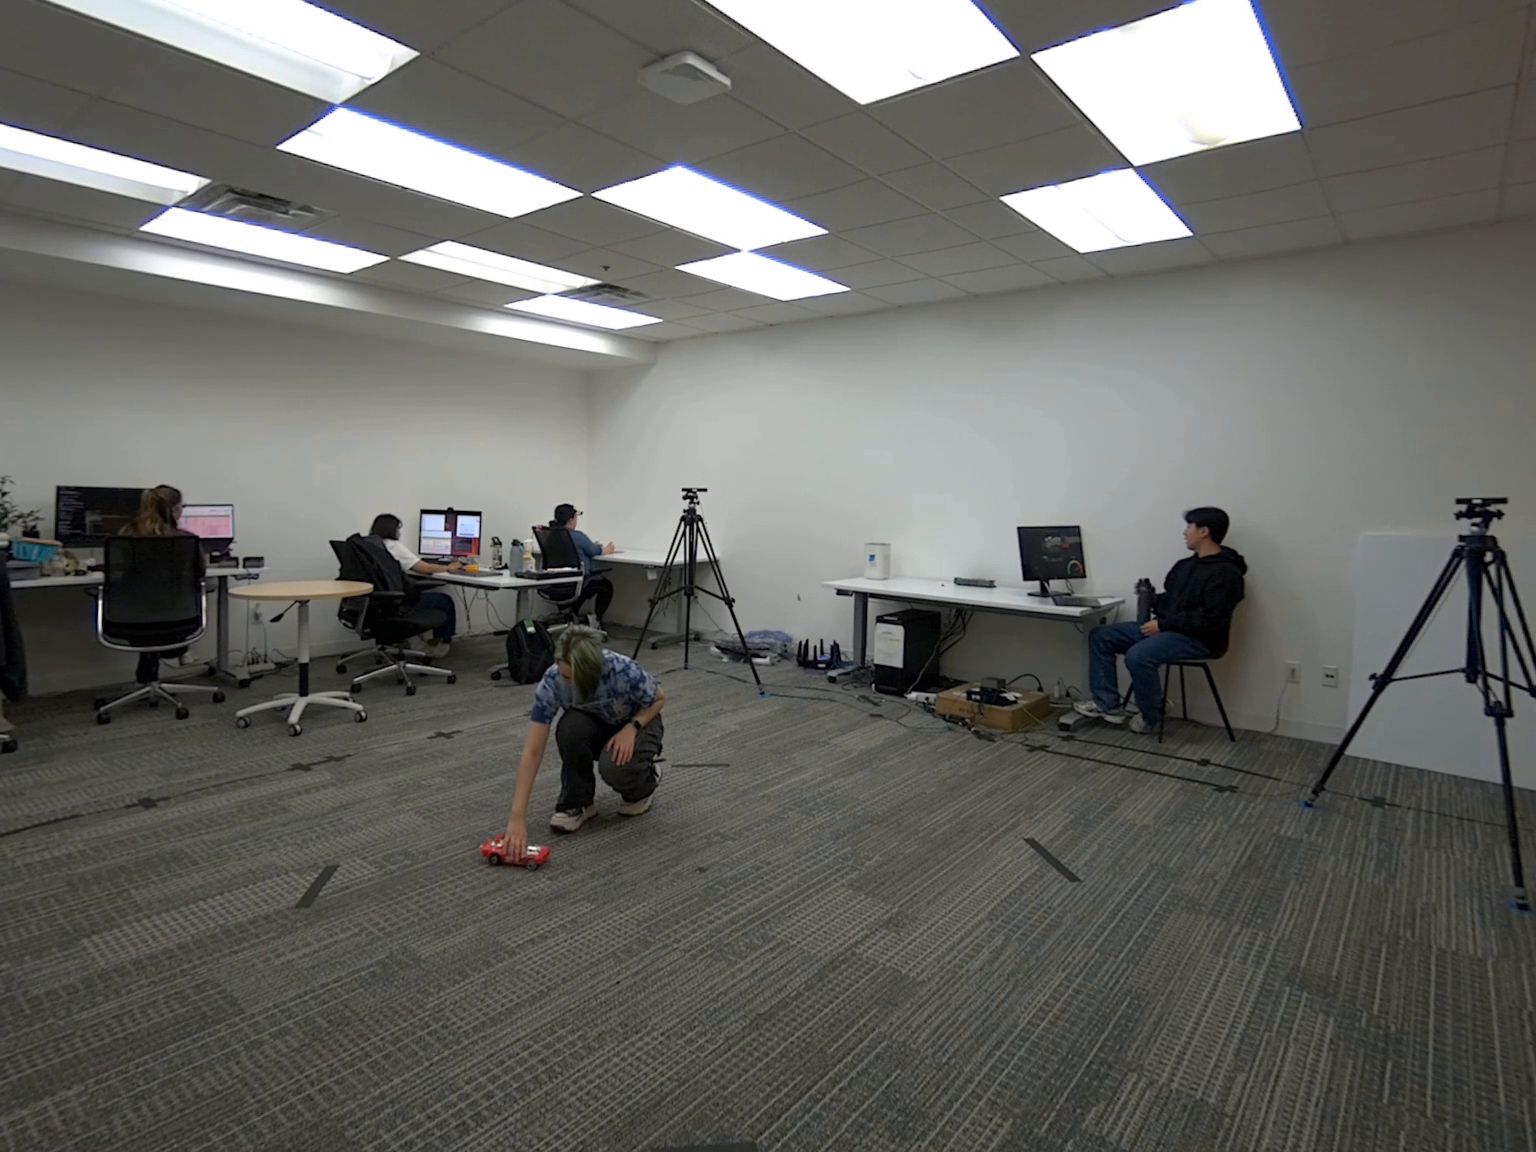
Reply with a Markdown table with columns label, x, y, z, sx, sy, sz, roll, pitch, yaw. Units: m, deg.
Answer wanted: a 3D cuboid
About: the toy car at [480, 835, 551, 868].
| label | x | y | z | sx | sy | sz | roll | pitch | yaw |
| --- | --- | --- | --- | --- | --- | --- | --- | --- | --- |
| toy car | -0.958 | 1.024 | 3.149 | 0.258 | 0.083 | 0.129 | 12 | 7 | 11 |
